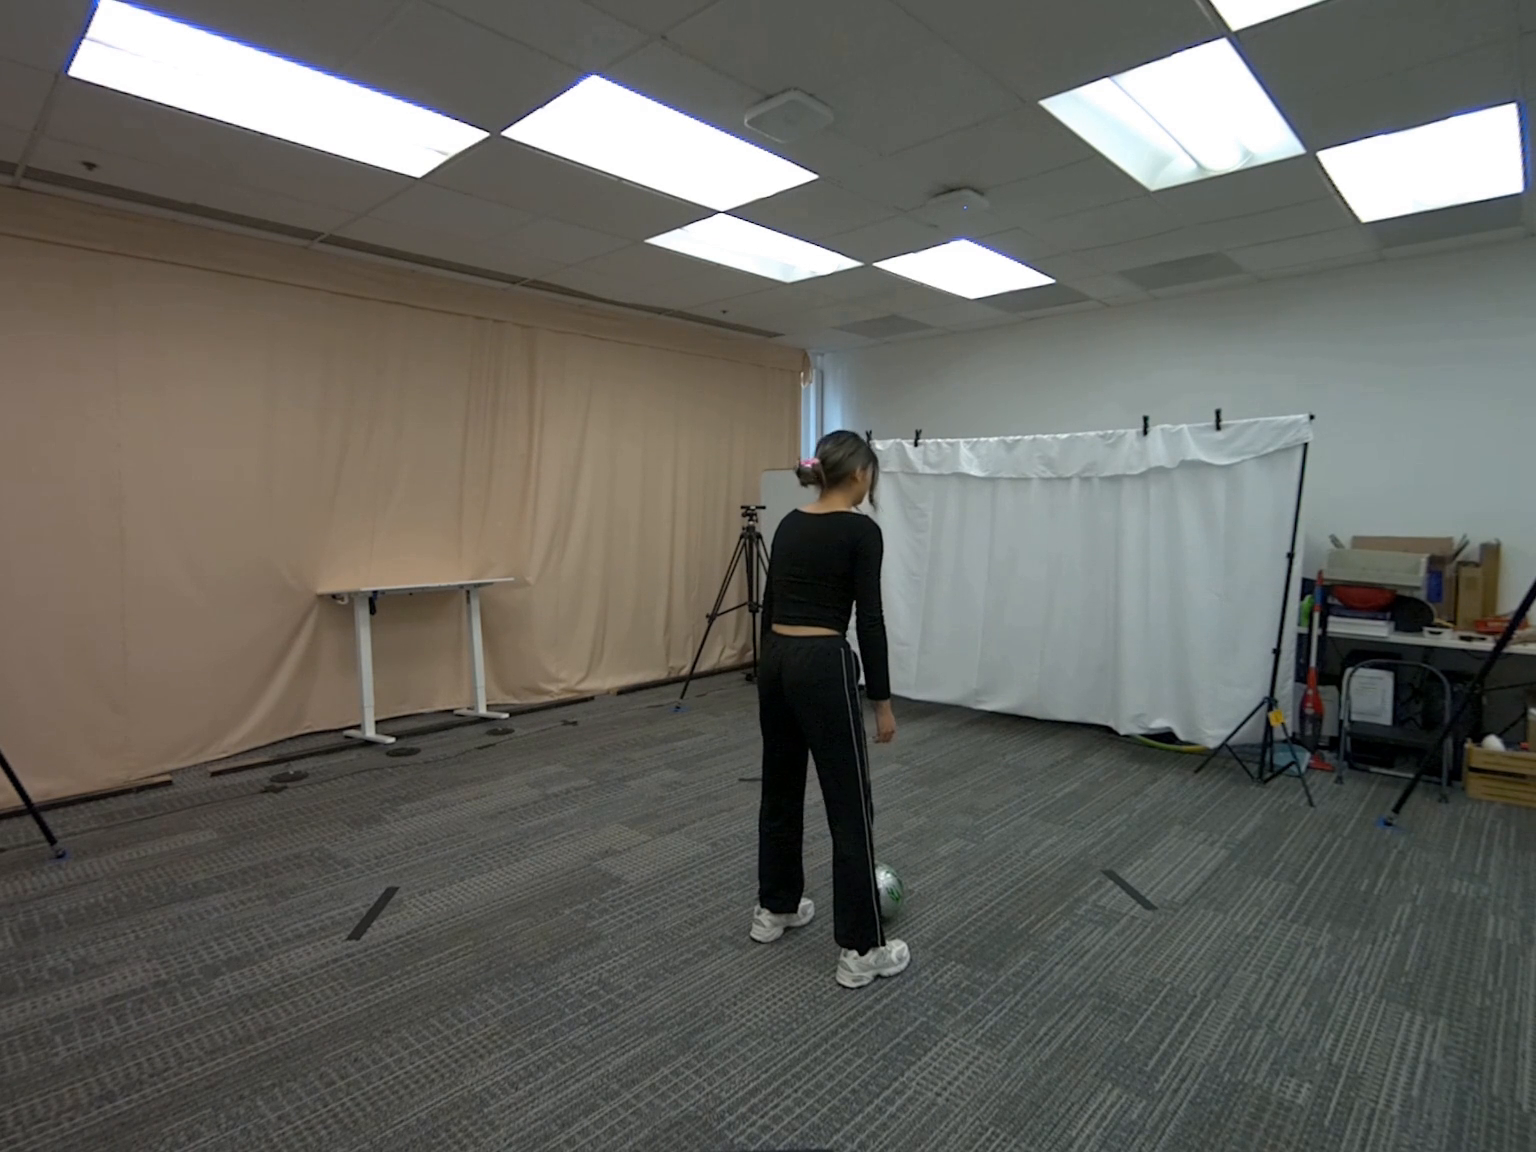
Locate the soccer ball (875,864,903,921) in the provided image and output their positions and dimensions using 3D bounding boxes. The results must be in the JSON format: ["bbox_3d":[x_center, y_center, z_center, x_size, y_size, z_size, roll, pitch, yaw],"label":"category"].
[{"bbox_3d":[0.371,1.062,2.834,0.187,0.187,0.188,0,4,-2],"label":"soccer ball"}]
